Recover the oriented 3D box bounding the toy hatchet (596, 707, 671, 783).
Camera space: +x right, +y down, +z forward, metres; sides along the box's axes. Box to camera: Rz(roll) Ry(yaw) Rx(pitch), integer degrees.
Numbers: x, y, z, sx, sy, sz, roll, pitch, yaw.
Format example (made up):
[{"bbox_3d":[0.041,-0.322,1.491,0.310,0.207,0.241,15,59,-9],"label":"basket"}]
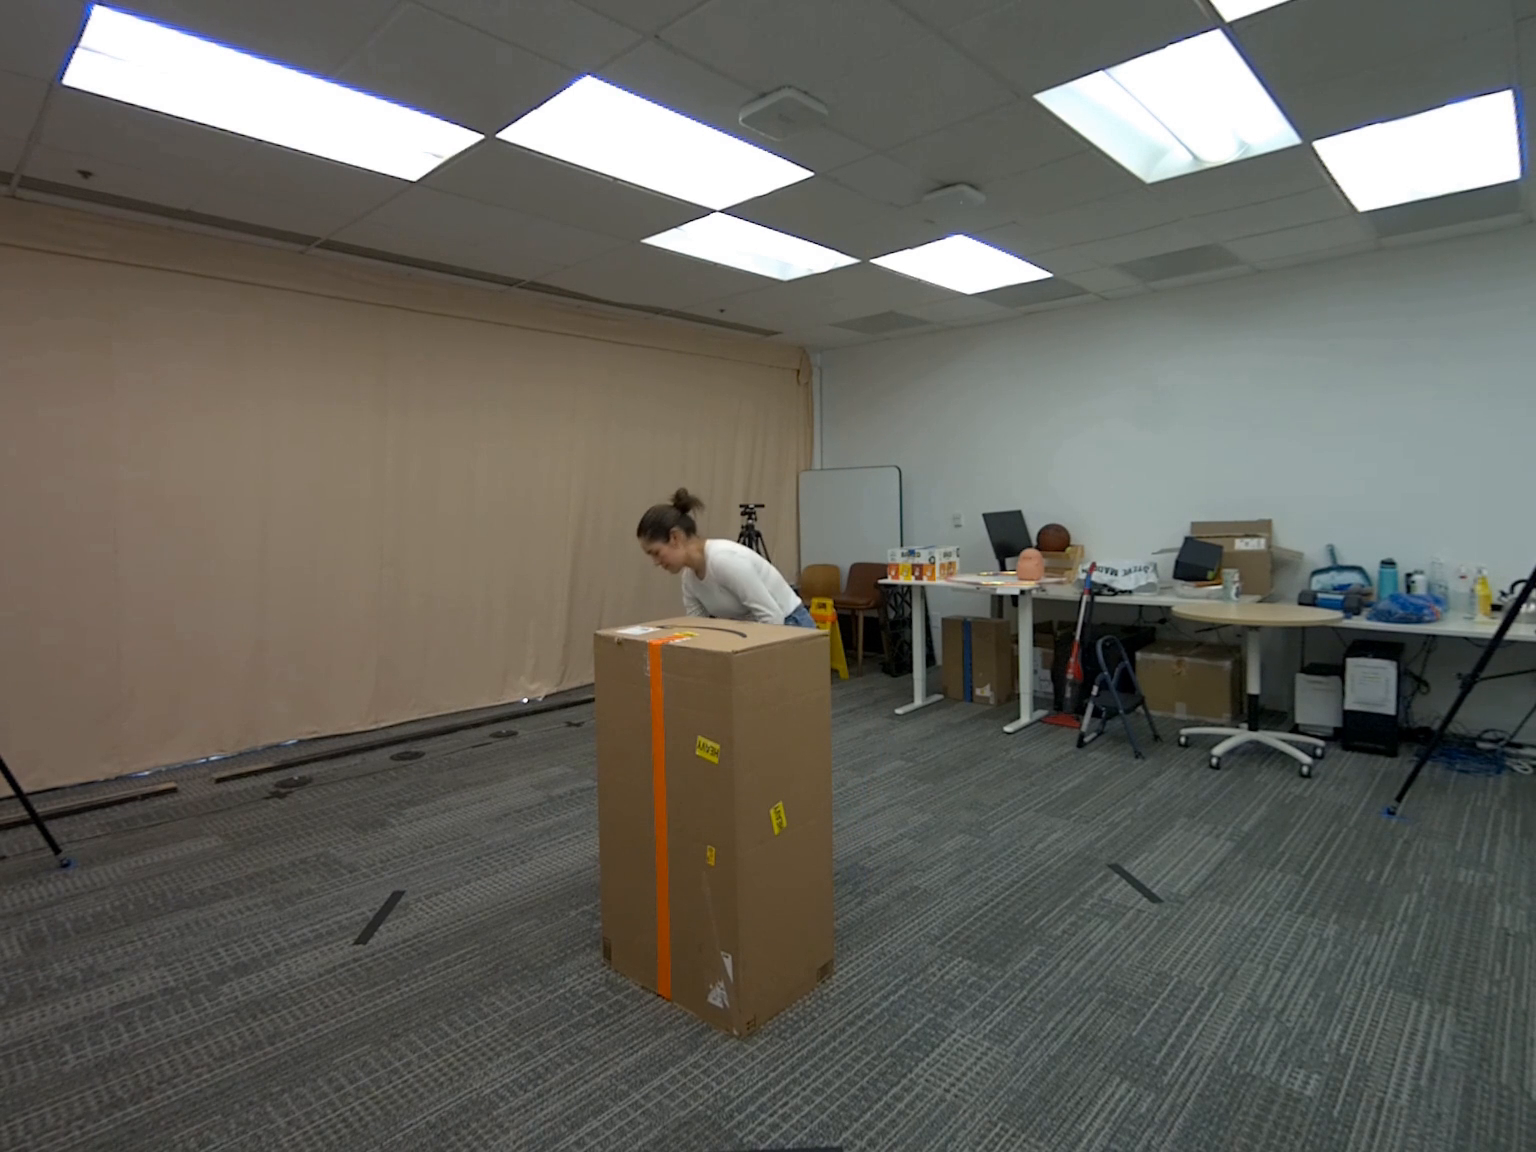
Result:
[{"bbox_3d":[-0.503,0.624,3.158,0.136,0.029,0.269,21,61,41],"label":"toy hatchet"}]
